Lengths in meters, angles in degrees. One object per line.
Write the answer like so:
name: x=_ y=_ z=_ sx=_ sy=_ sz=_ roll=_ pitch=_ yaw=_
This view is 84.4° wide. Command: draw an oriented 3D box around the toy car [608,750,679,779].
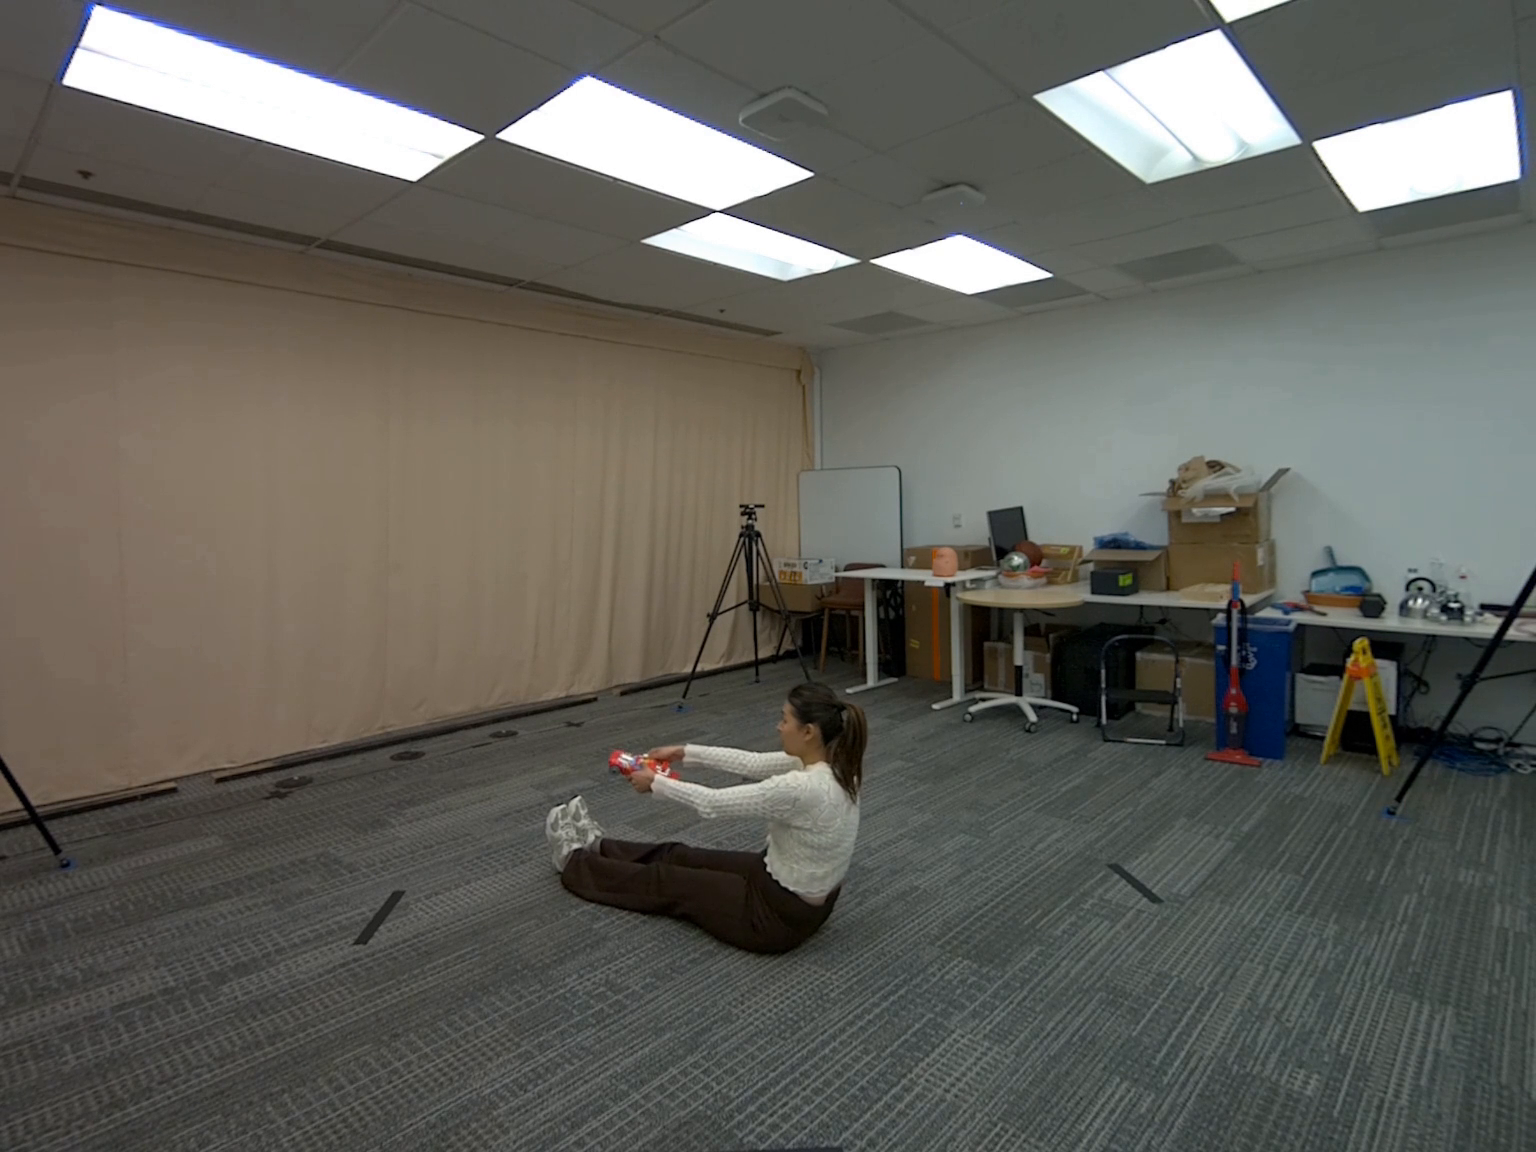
toy car: x=-0.417 y=0.682 z=2.938 sx=0.255 sy=0.083 sz=0.131 roll=6 pitch=10 yaw=0
